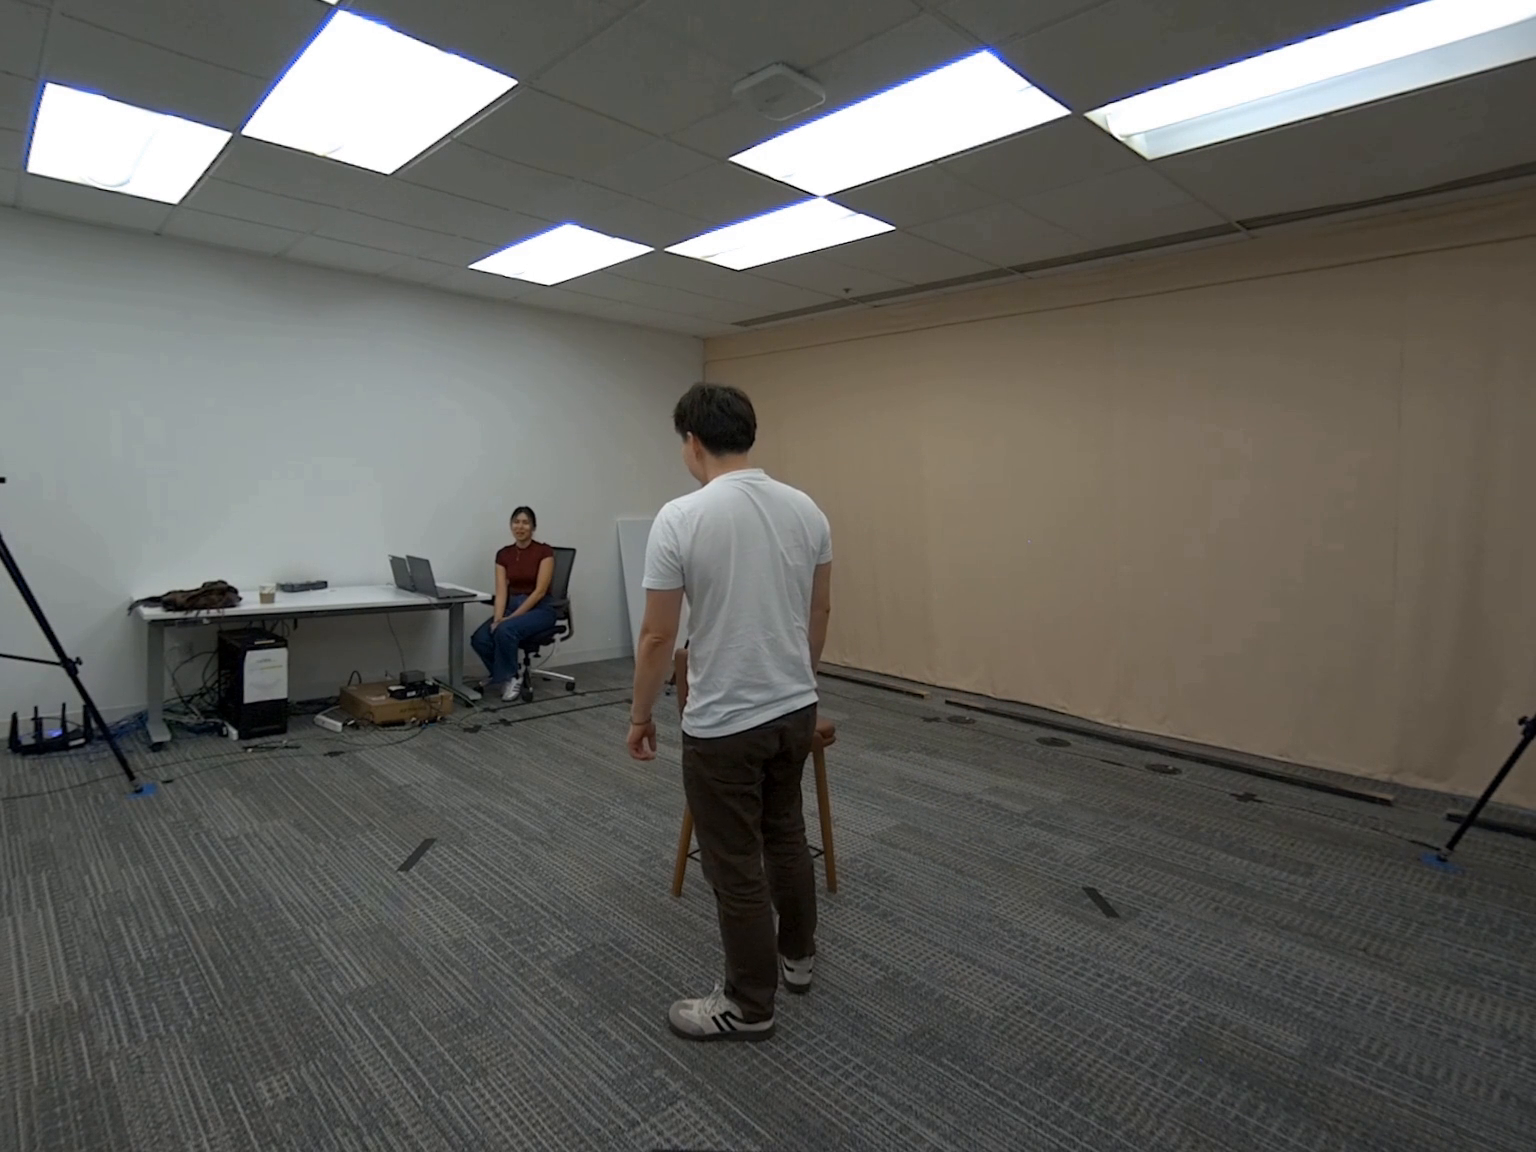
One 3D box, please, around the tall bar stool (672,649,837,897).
[{"bbox_3d":[-0.052,0.685,2.934,0.468,0.886,0.457,4,7,43],"label":"tall bar stool"}]
